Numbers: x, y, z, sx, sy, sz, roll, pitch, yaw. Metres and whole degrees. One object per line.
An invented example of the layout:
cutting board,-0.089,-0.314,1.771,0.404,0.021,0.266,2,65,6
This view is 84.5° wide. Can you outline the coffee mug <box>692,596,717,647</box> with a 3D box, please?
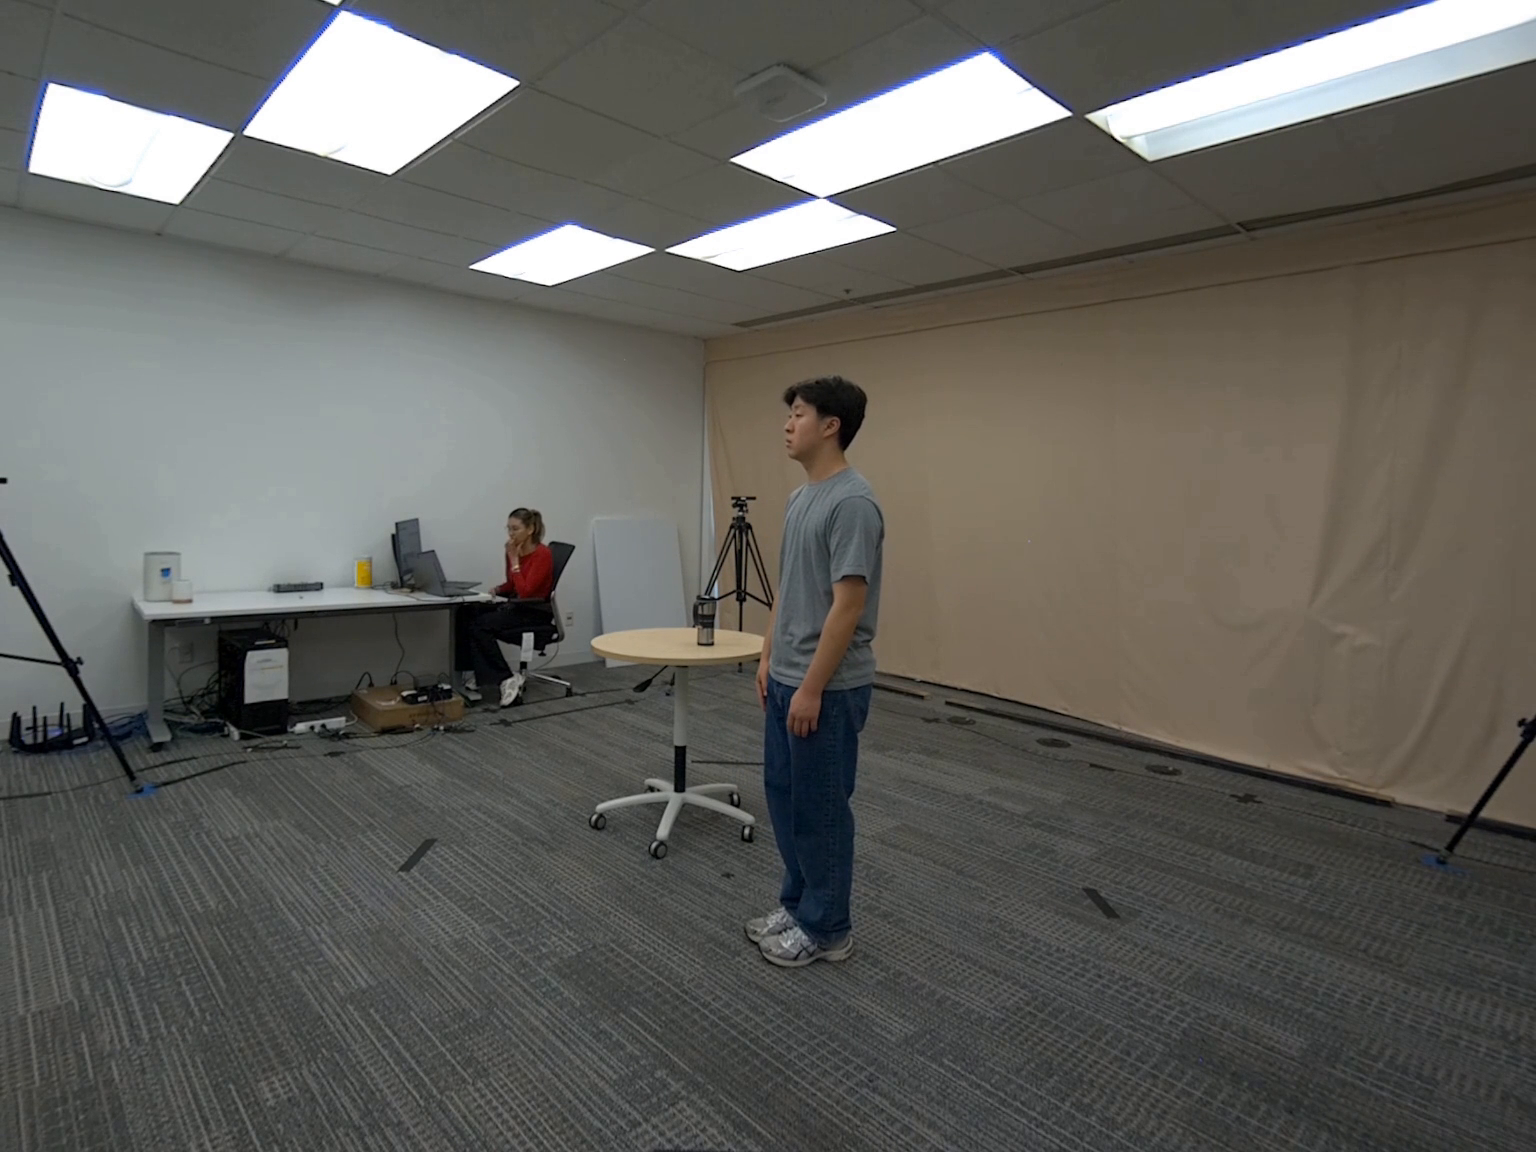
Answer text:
coffee mug,-0.285,0.188,3.471,0.119,0.202,0.090,1,6,-44
